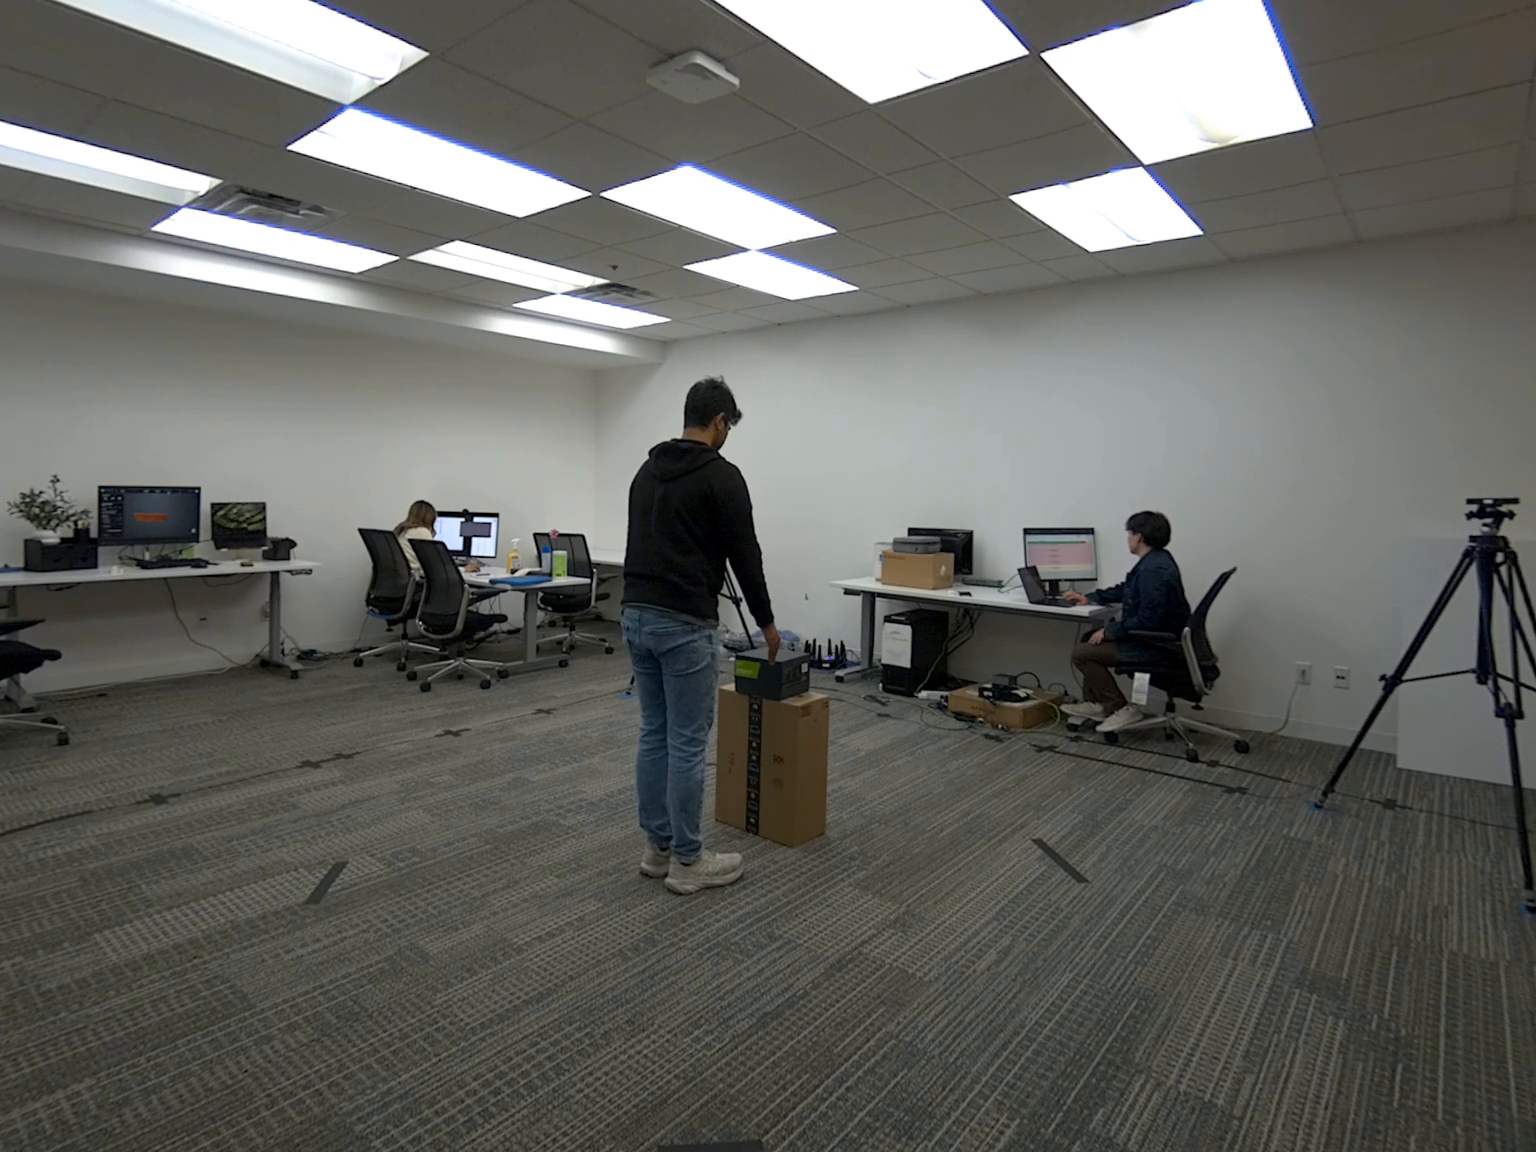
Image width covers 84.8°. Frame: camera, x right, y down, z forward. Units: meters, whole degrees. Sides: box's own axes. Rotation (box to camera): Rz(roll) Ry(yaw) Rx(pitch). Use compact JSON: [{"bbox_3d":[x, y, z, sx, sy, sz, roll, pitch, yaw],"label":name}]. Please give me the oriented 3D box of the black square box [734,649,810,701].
[{"bbox_3d":[0.005,0.388,3.468,0.235,0.155,0.211,5,7,36],"label":"black square box"}]
